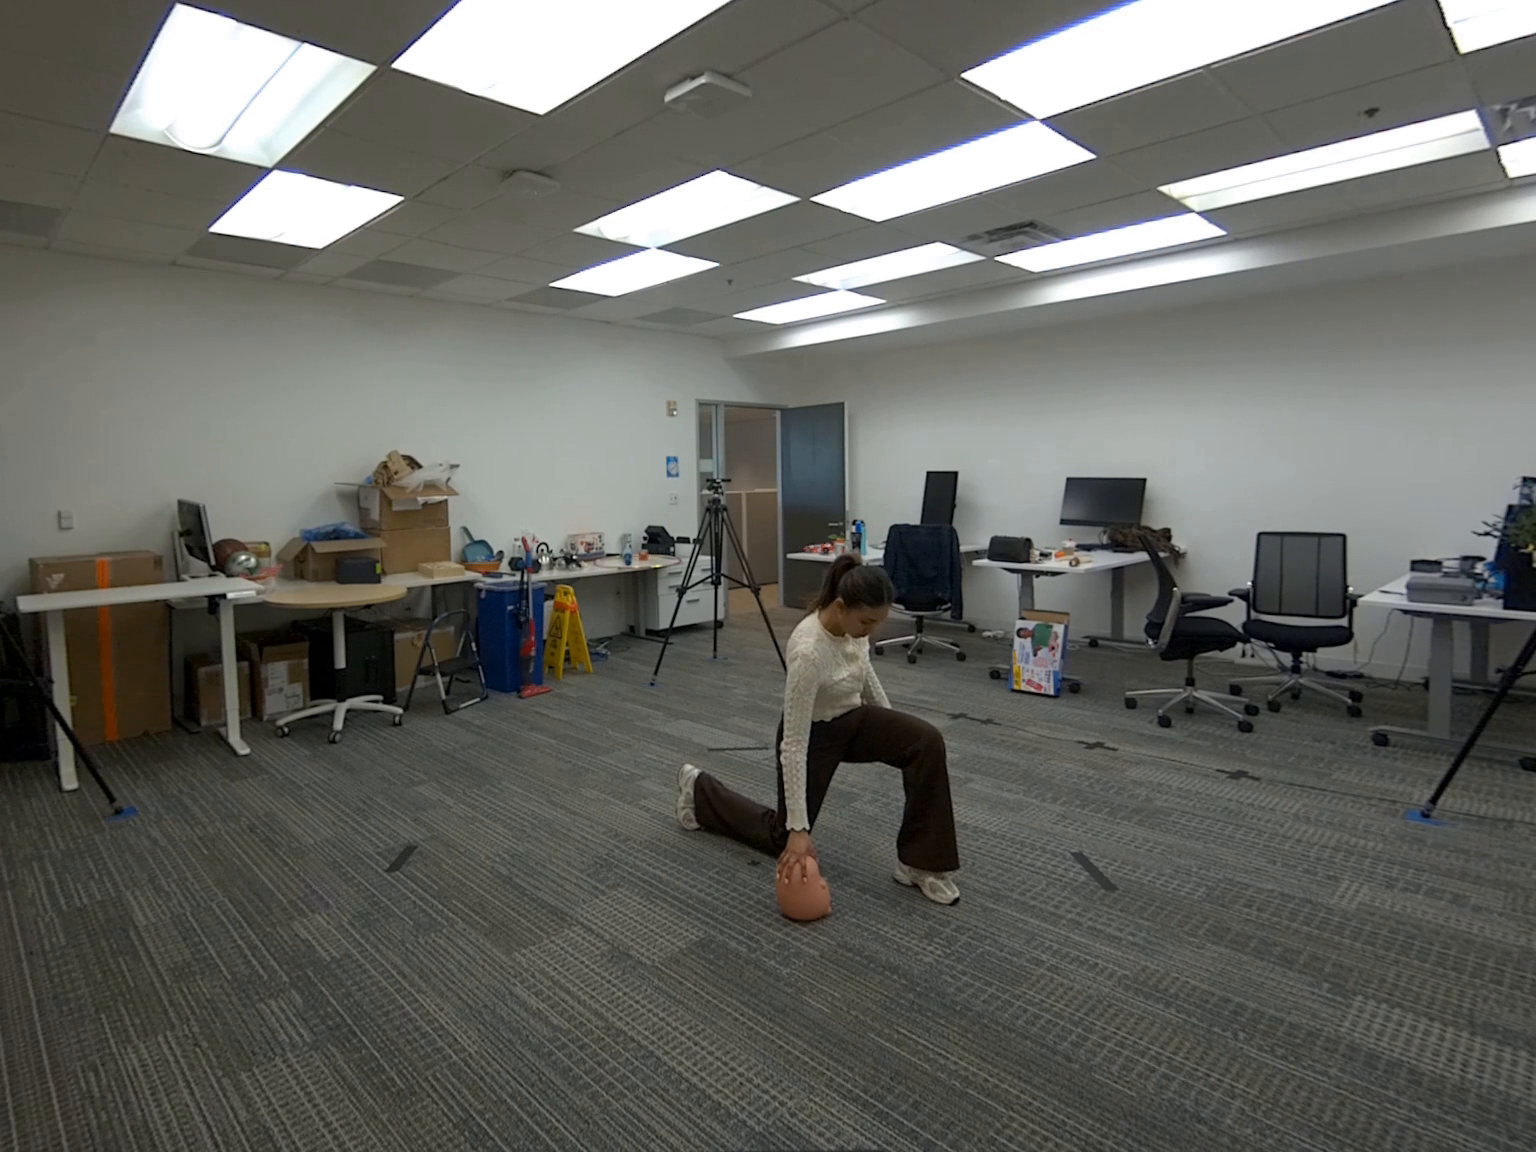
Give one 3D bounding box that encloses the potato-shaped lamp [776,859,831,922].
[{"bbox_3d":[0.107,0.988,2.741,0.168,0.198,0.168,-10,0,-31],"label":"potato-shaped lamp"}]
